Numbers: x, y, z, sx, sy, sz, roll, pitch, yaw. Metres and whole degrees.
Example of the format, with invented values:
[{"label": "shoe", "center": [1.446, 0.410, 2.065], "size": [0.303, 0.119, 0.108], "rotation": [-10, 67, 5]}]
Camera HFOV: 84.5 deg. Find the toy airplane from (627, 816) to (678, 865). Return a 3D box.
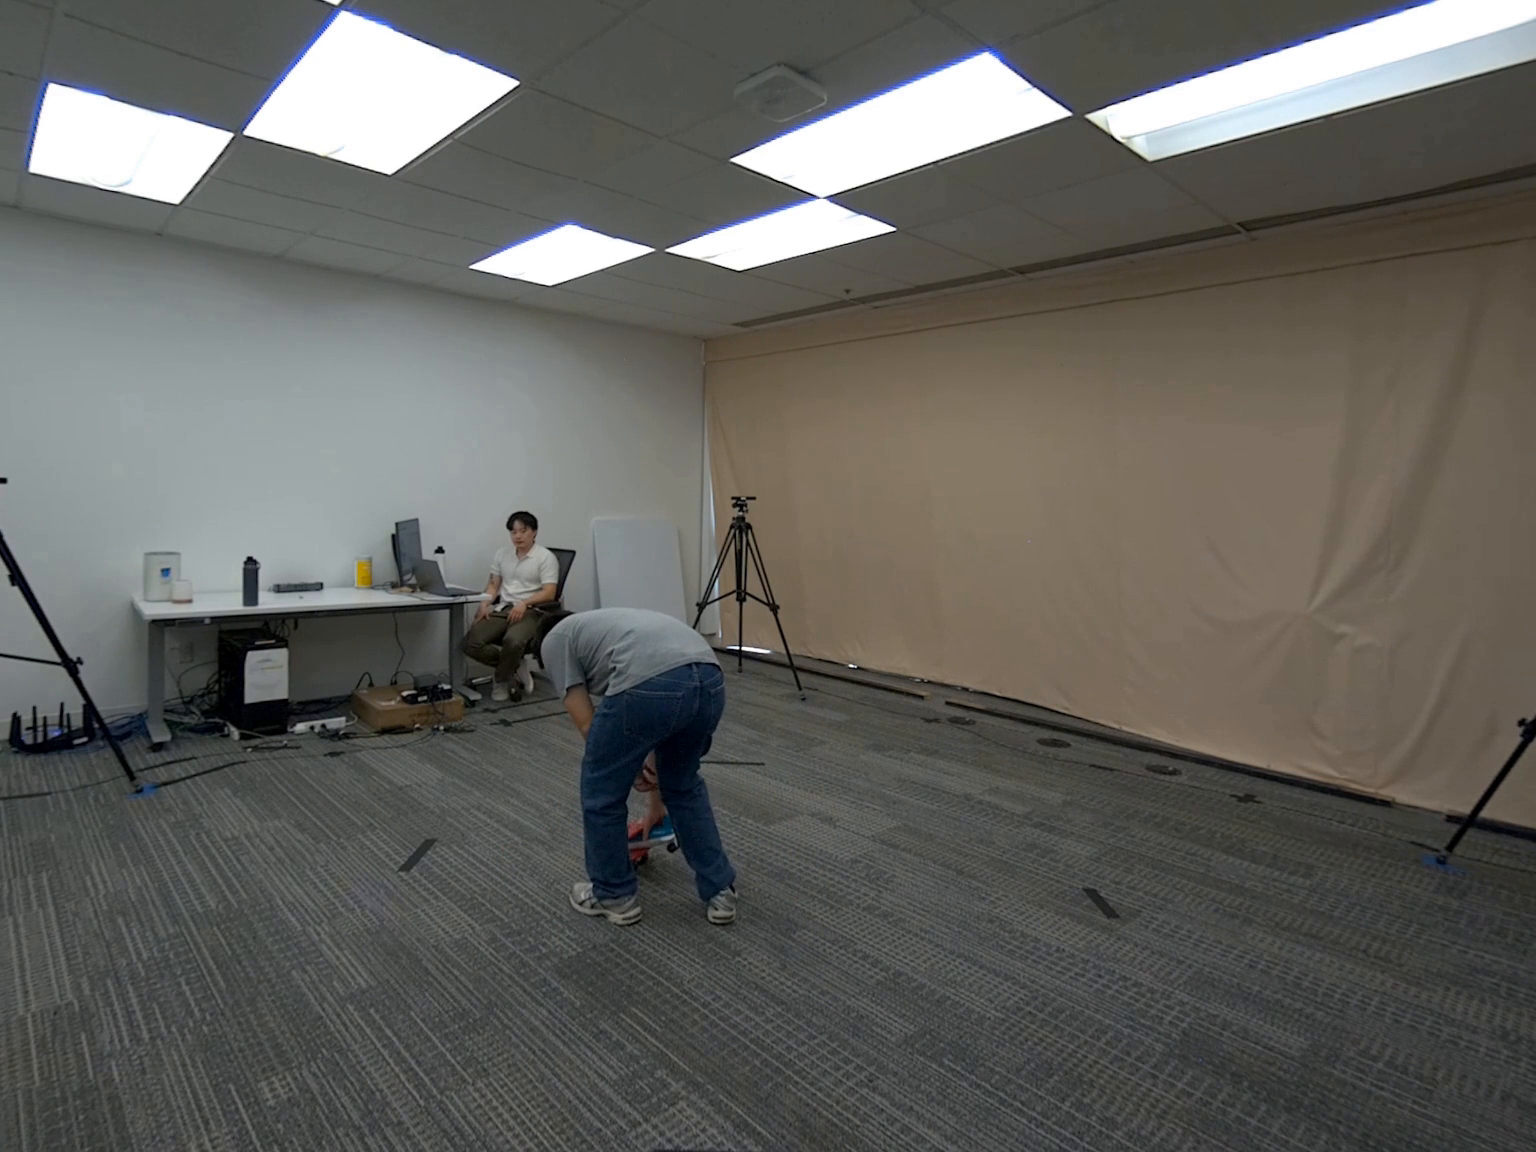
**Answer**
[{"label": "toy airplane", "center": [-0.468, 0.990, 3.141], "size": [0.258, 0.158, 0.250], "rotation": [-27, -7, -10]}]
